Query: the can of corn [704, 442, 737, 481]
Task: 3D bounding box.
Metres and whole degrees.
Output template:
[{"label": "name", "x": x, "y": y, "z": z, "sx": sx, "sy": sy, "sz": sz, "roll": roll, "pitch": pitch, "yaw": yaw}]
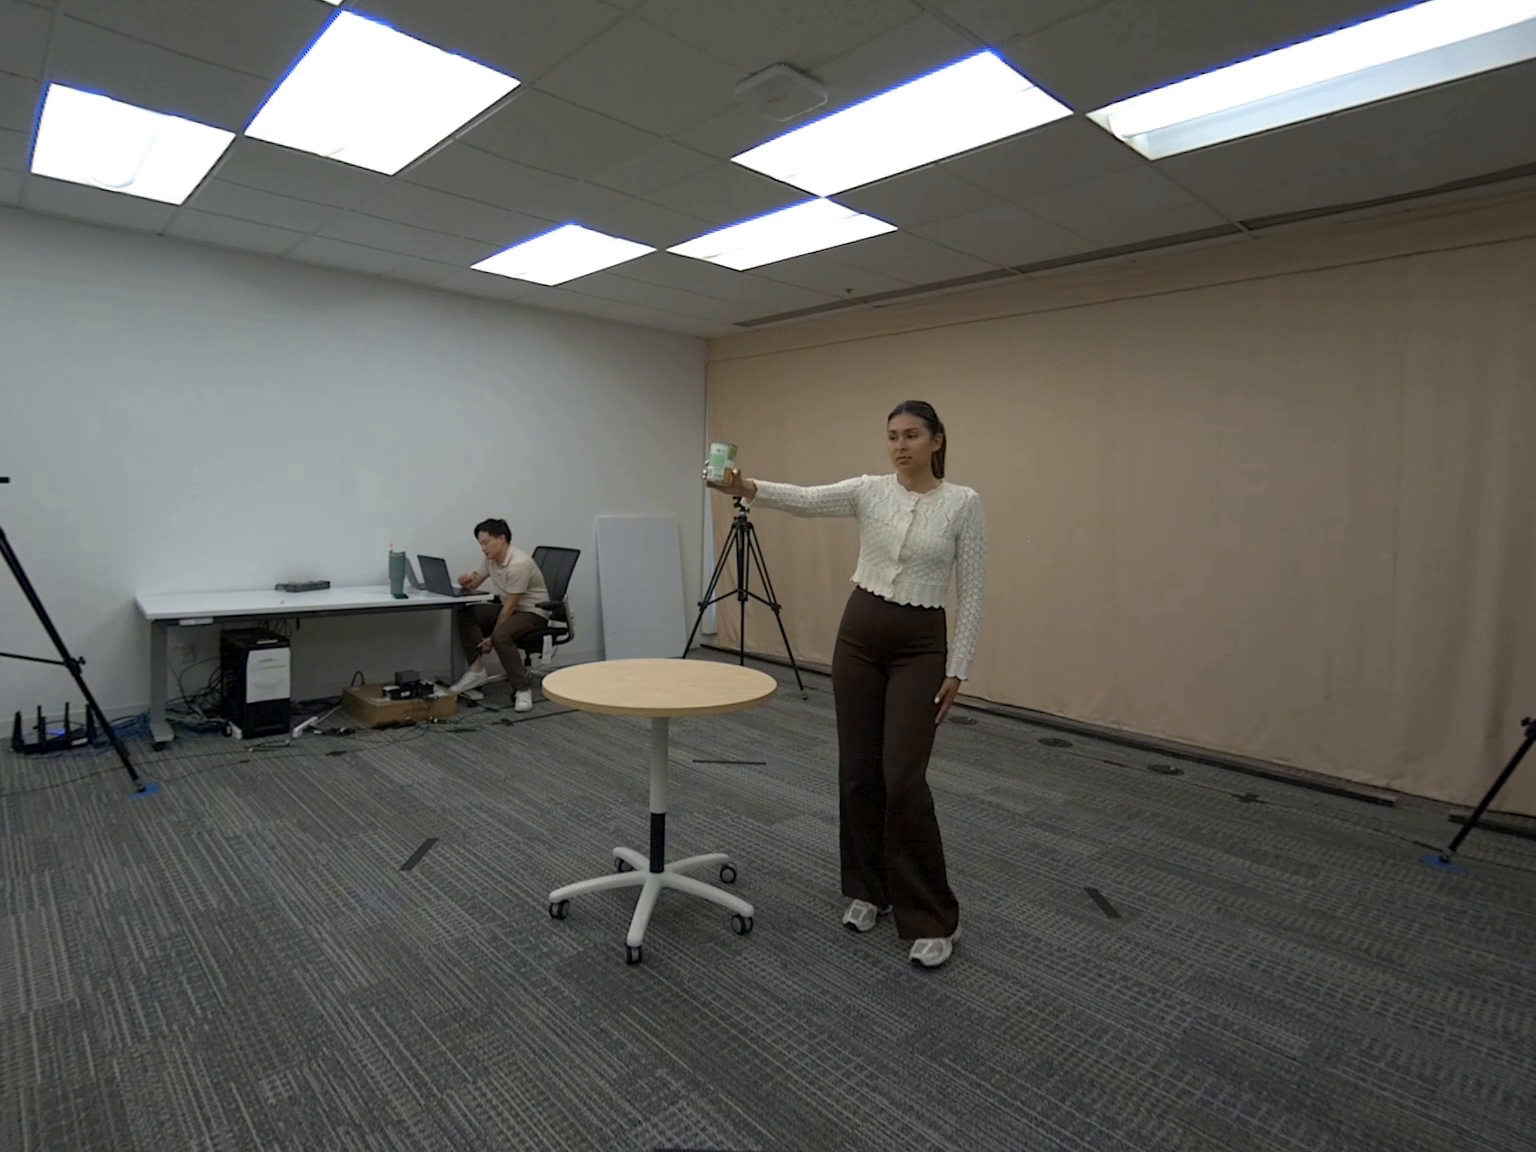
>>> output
[{"label": "can of corn", "x": -0.129, "y": -0.315, "z": 2.368, "sx": 0.074, "sy": 0.111, "sz": 0.074, "roll": 6, "pitch": -2, "yaw": -1}]
